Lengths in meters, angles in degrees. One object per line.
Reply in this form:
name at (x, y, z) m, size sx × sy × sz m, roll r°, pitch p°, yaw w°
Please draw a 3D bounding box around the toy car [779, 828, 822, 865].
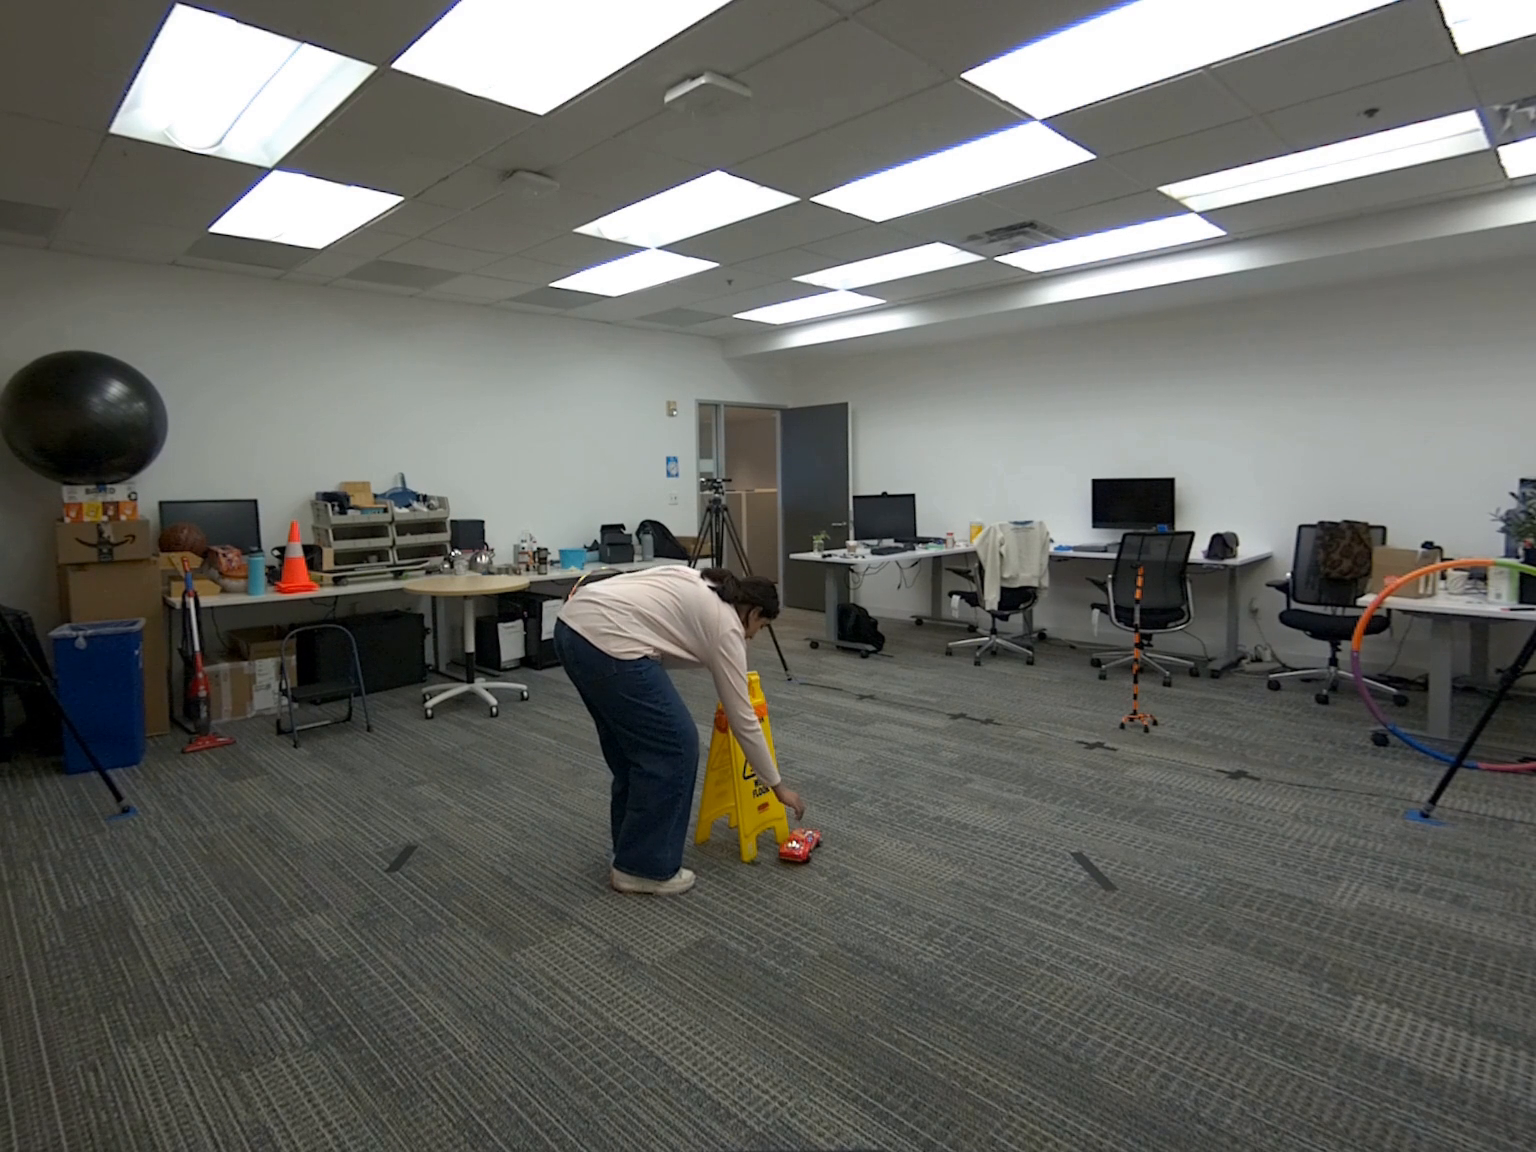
toy car at (0.113, 1.000, 3.168) m, size 0.133 × 0.083 × 0.248 m, roll 4°, pitch -4°, yaw 20°
